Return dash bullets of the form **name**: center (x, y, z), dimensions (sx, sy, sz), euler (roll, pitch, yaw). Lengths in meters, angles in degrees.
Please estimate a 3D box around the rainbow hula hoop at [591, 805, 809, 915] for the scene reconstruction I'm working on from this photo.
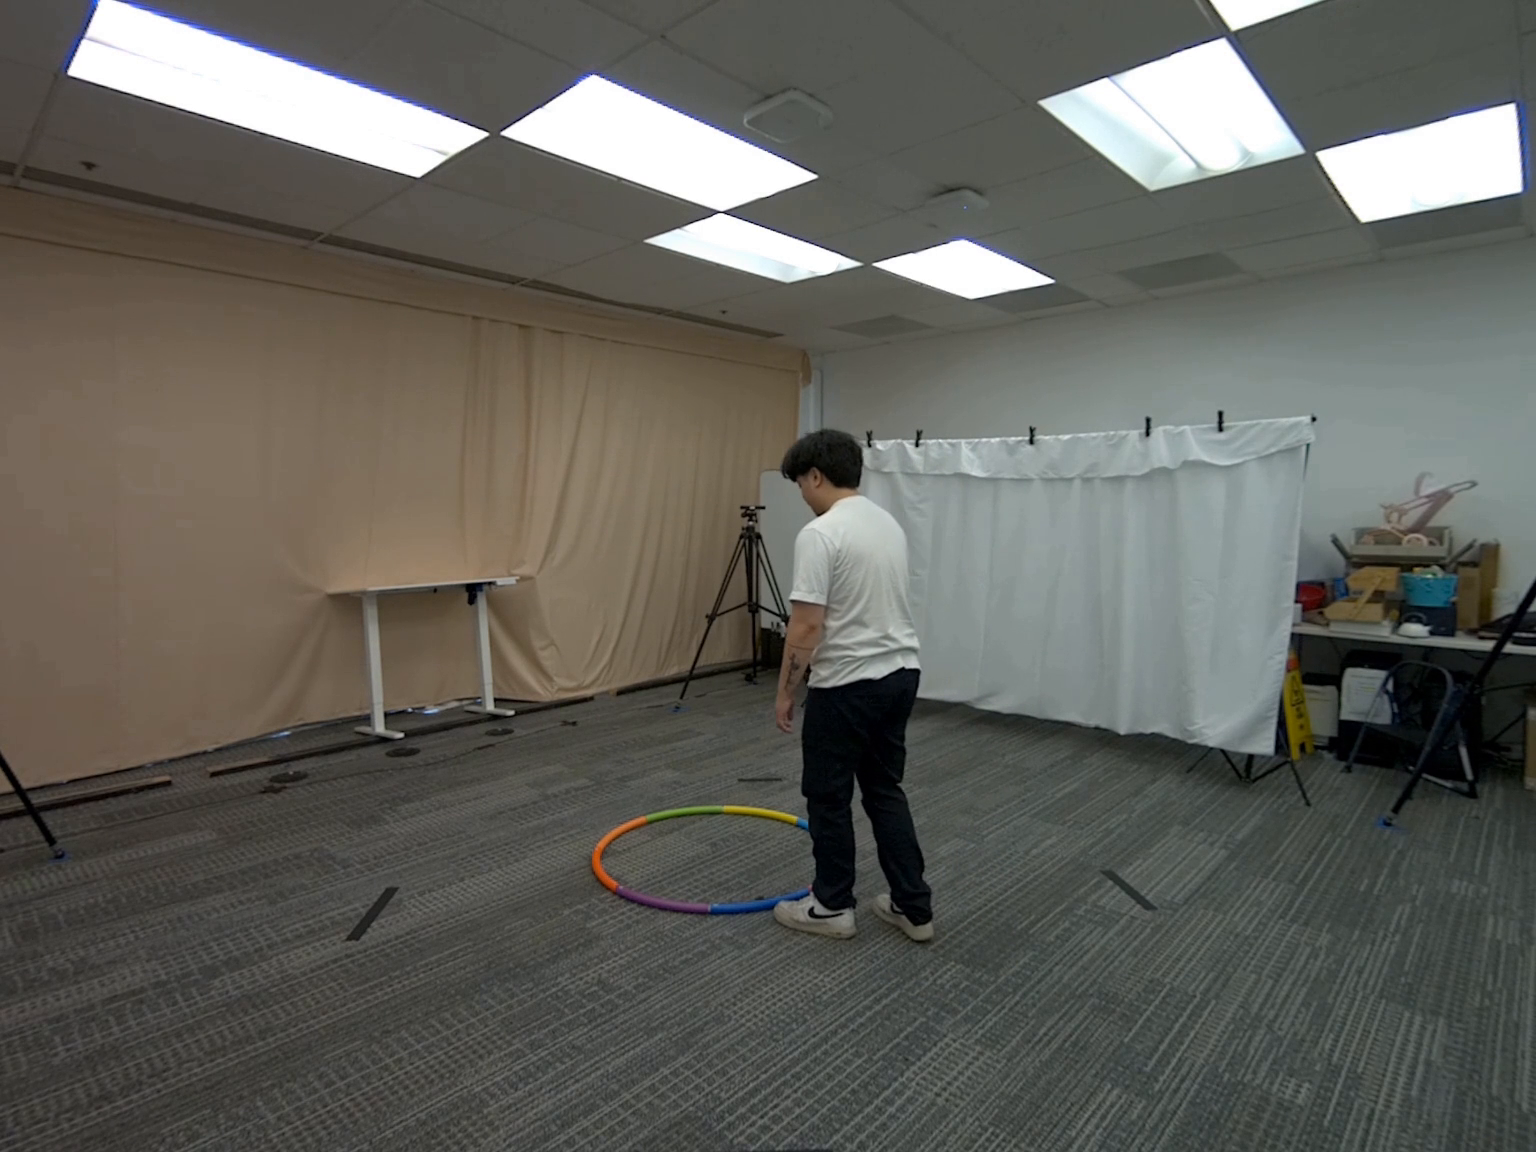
- **rainbow hula hoop**: center (-0.204, 1.090, 3.349), dimensions (0.984, 0.051, 0.989), euler (0, 5, -2)
